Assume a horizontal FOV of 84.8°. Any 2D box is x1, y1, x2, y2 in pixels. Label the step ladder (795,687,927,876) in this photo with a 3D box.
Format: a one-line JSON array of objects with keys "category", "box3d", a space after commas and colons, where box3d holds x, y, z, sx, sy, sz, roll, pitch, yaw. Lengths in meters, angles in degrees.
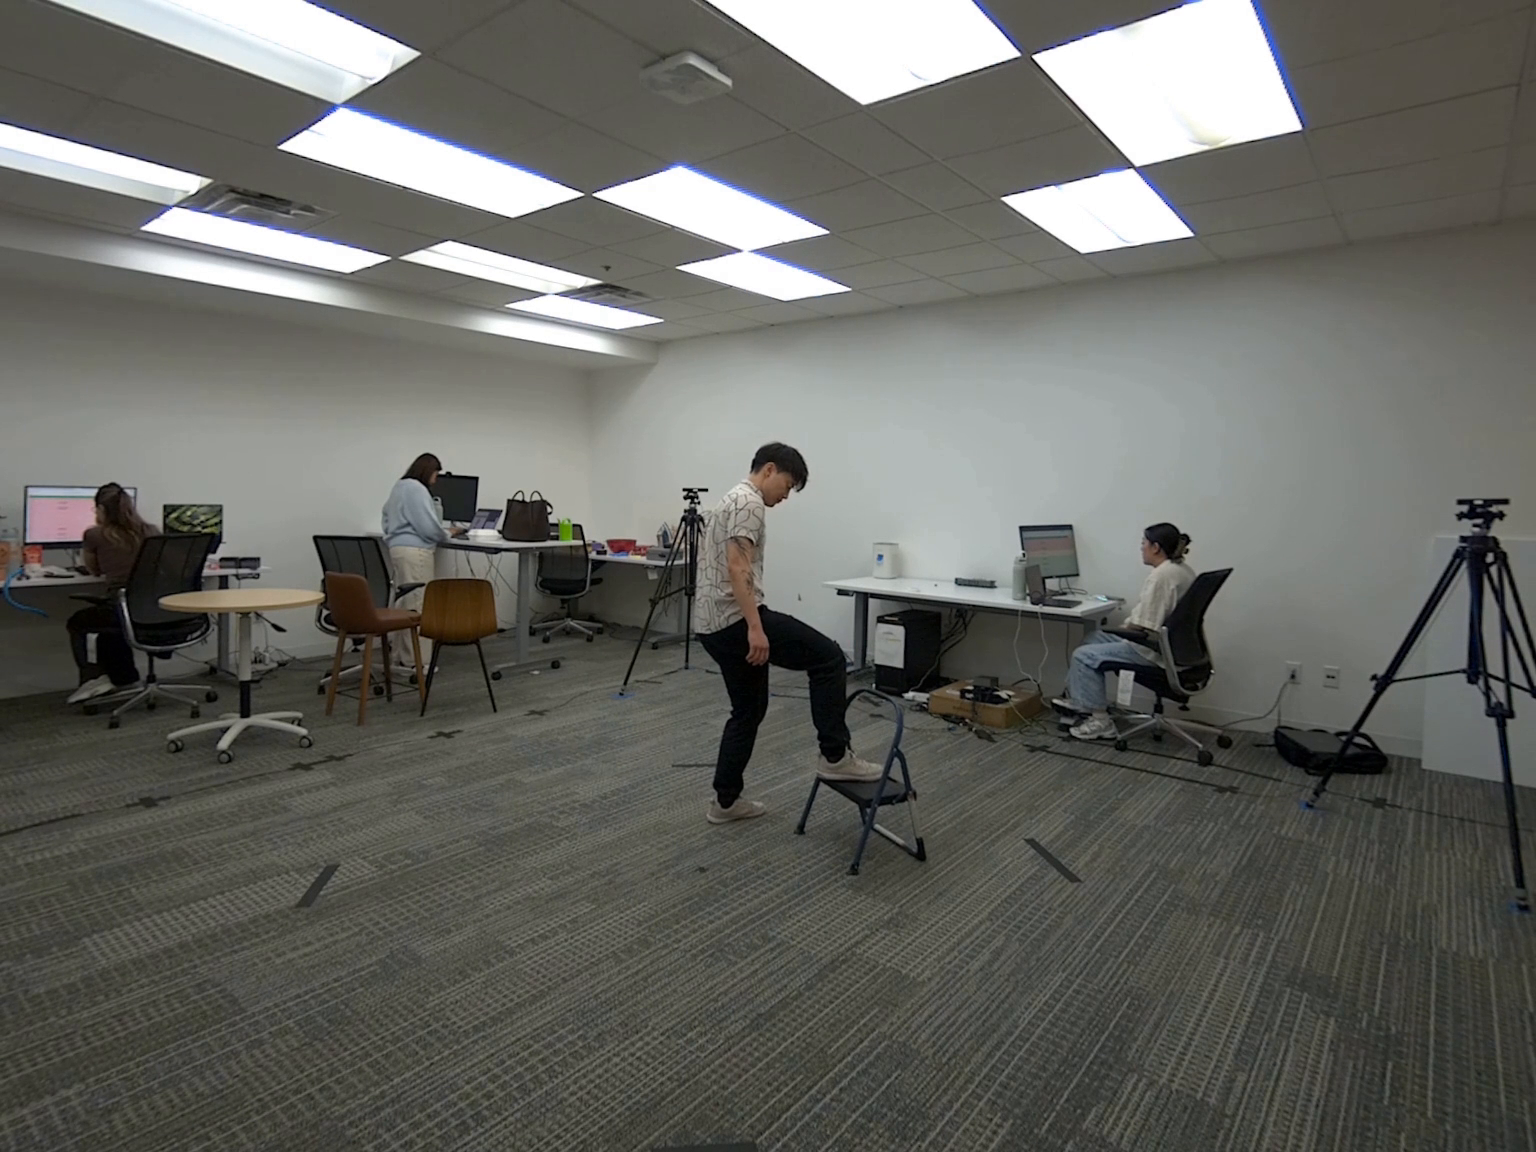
[{"category": "step ladder", "box3d": [0.358, 0.759, 3.328, 0.340, 0.604, 0.443, 1, 4, -27]}]
